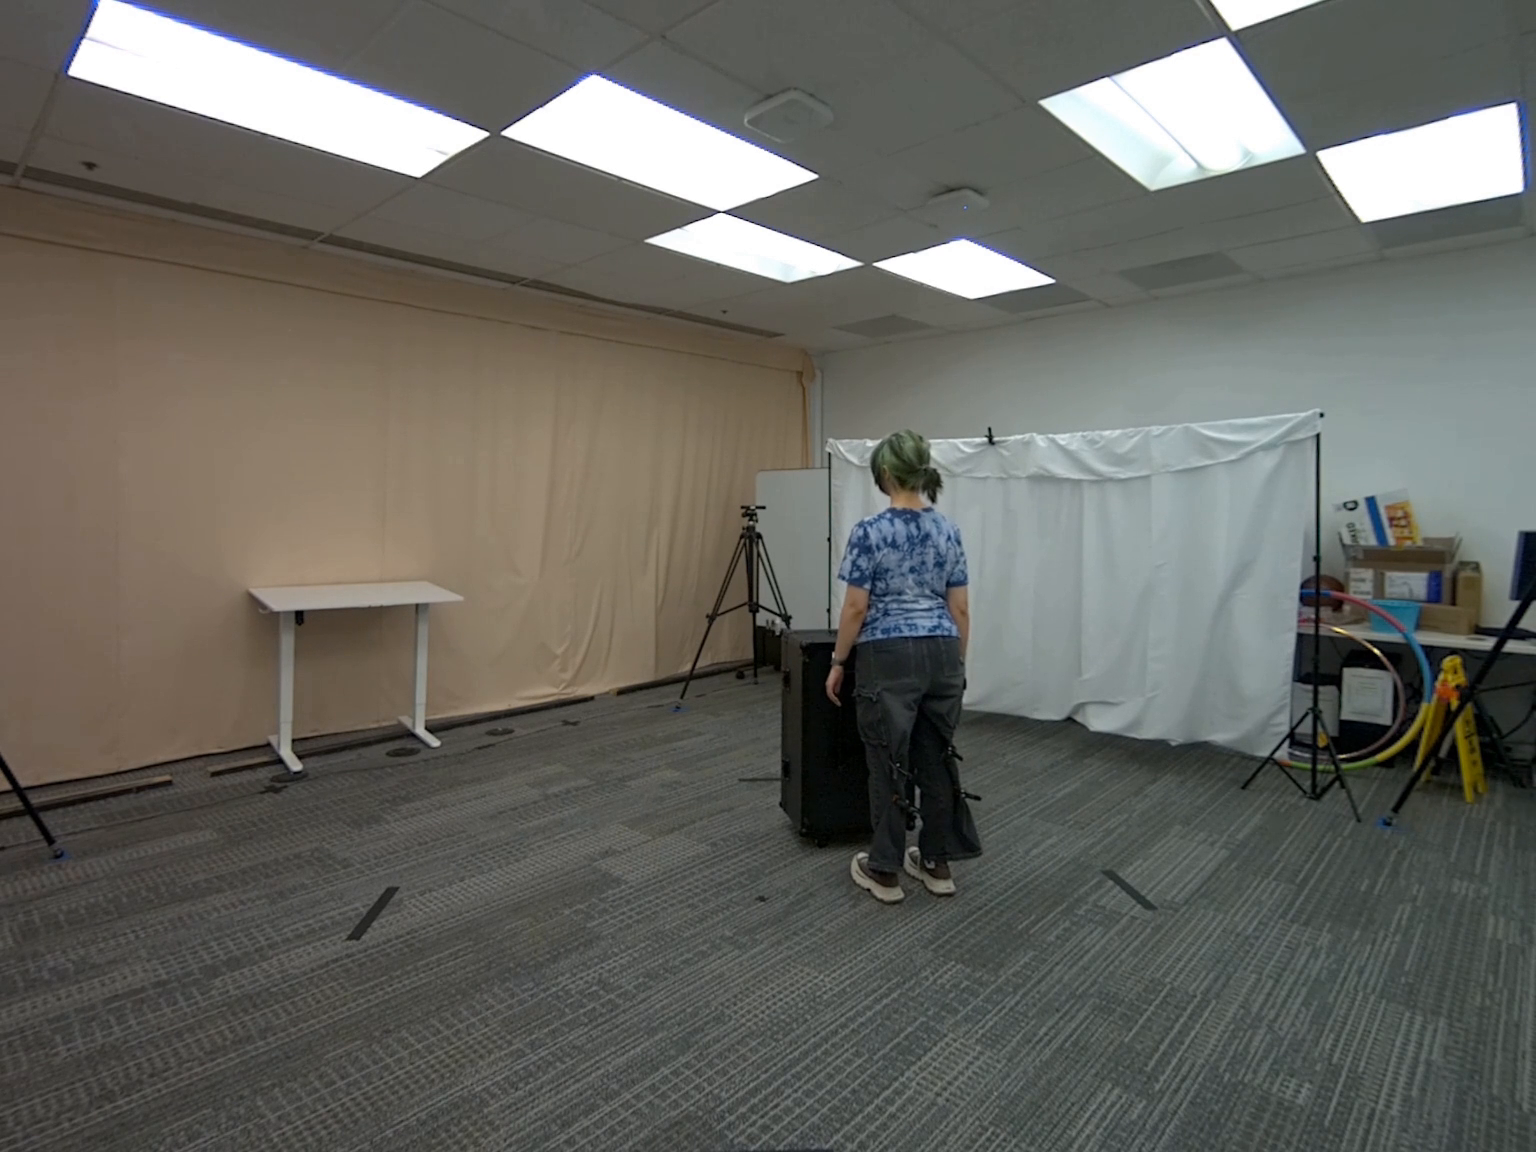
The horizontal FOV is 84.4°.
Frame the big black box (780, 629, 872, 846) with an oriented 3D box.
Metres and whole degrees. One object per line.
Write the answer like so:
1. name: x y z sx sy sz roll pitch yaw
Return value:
1. big black box: 0.334 0.671 3.546 0.516 0.859 0.401 0 4 -9
